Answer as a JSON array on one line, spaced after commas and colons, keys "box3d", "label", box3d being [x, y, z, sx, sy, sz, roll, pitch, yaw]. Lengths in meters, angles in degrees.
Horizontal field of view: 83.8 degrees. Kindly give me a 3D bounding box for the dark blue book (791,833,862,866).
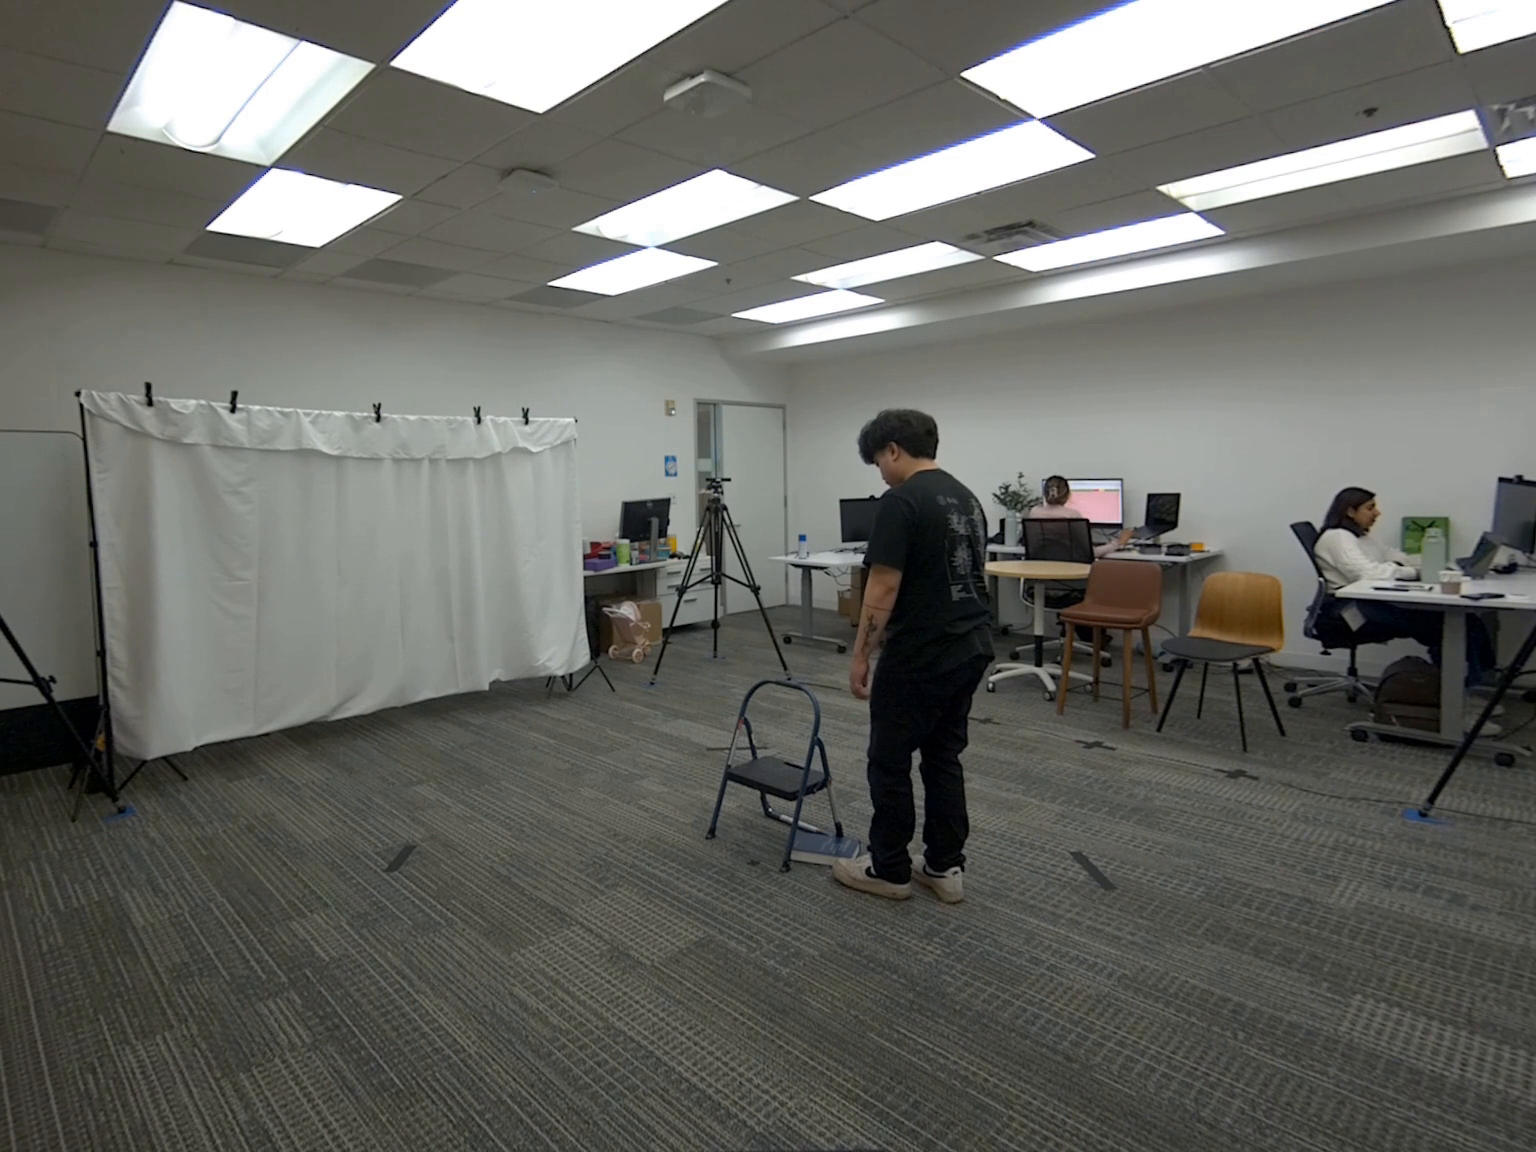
[{"box3d": [0.213, 1.012, 3.160, 0.250, 0.045, 0.161, 1, 7, 20], "label": "dark blue book"}]
